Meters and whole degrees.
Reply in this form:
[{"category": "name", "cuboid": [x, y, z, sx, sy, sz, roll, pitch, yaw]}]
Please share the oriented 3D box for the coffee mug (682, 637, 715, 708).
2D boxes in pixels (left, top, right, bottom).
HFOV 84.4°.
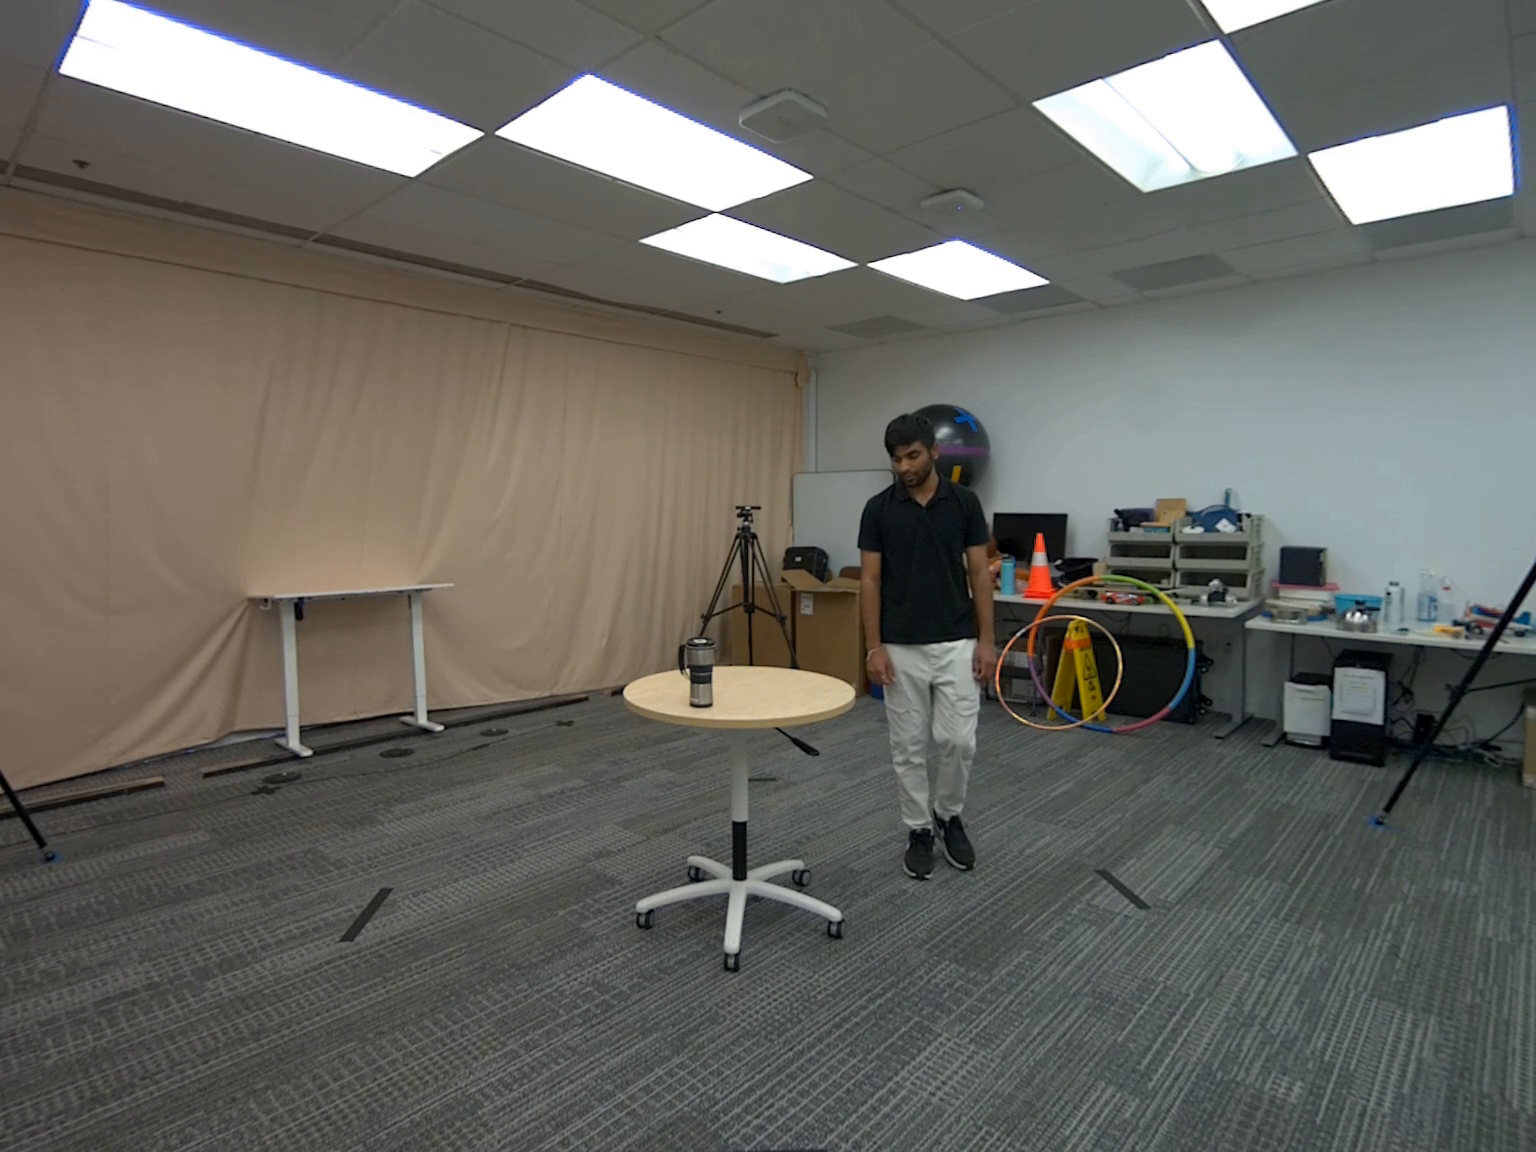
[{"category": "coffee mug", "cuboid": [-0.215, 0.298, 2.593, 0.085, 0.202, 0.126, -6, 8, -31]}]
